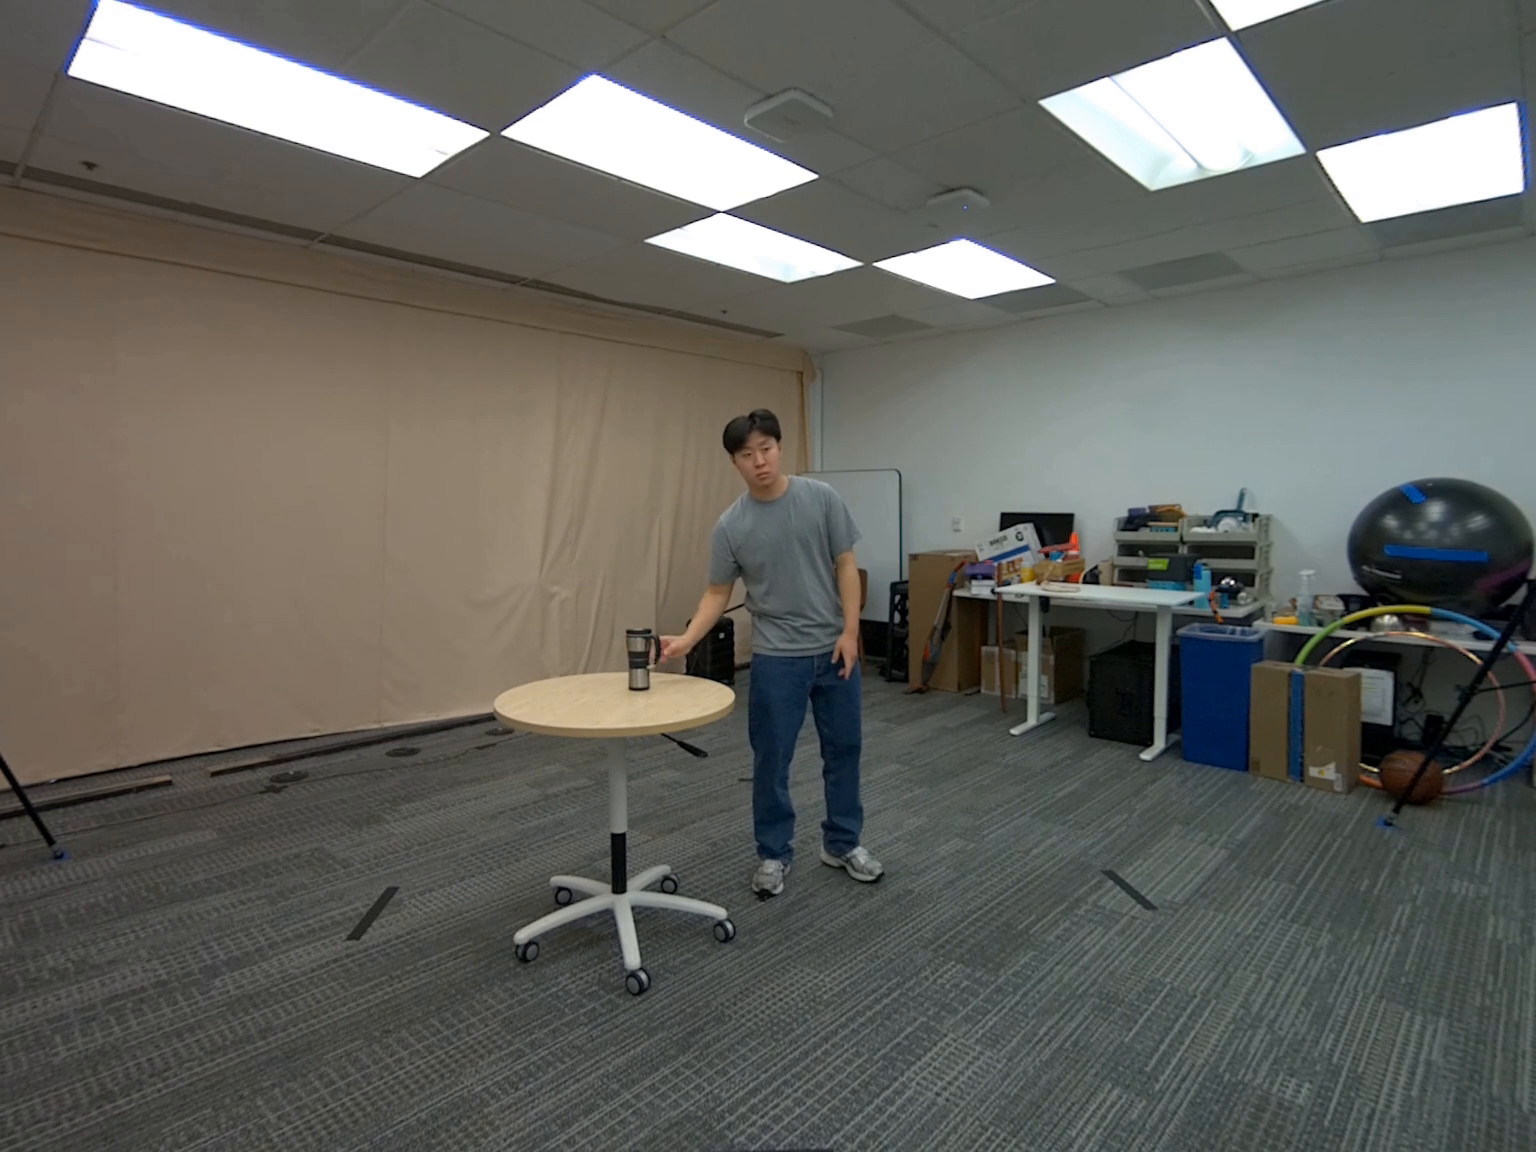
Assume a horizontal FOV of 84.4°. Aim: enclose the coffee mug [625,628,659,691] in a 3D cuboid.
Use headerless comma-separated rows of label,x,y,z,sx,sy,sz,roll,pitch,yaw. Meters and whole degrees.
coffee mug,-0.415,0.282,2.784,0.085,0.203,0.126,2,-1,-44
